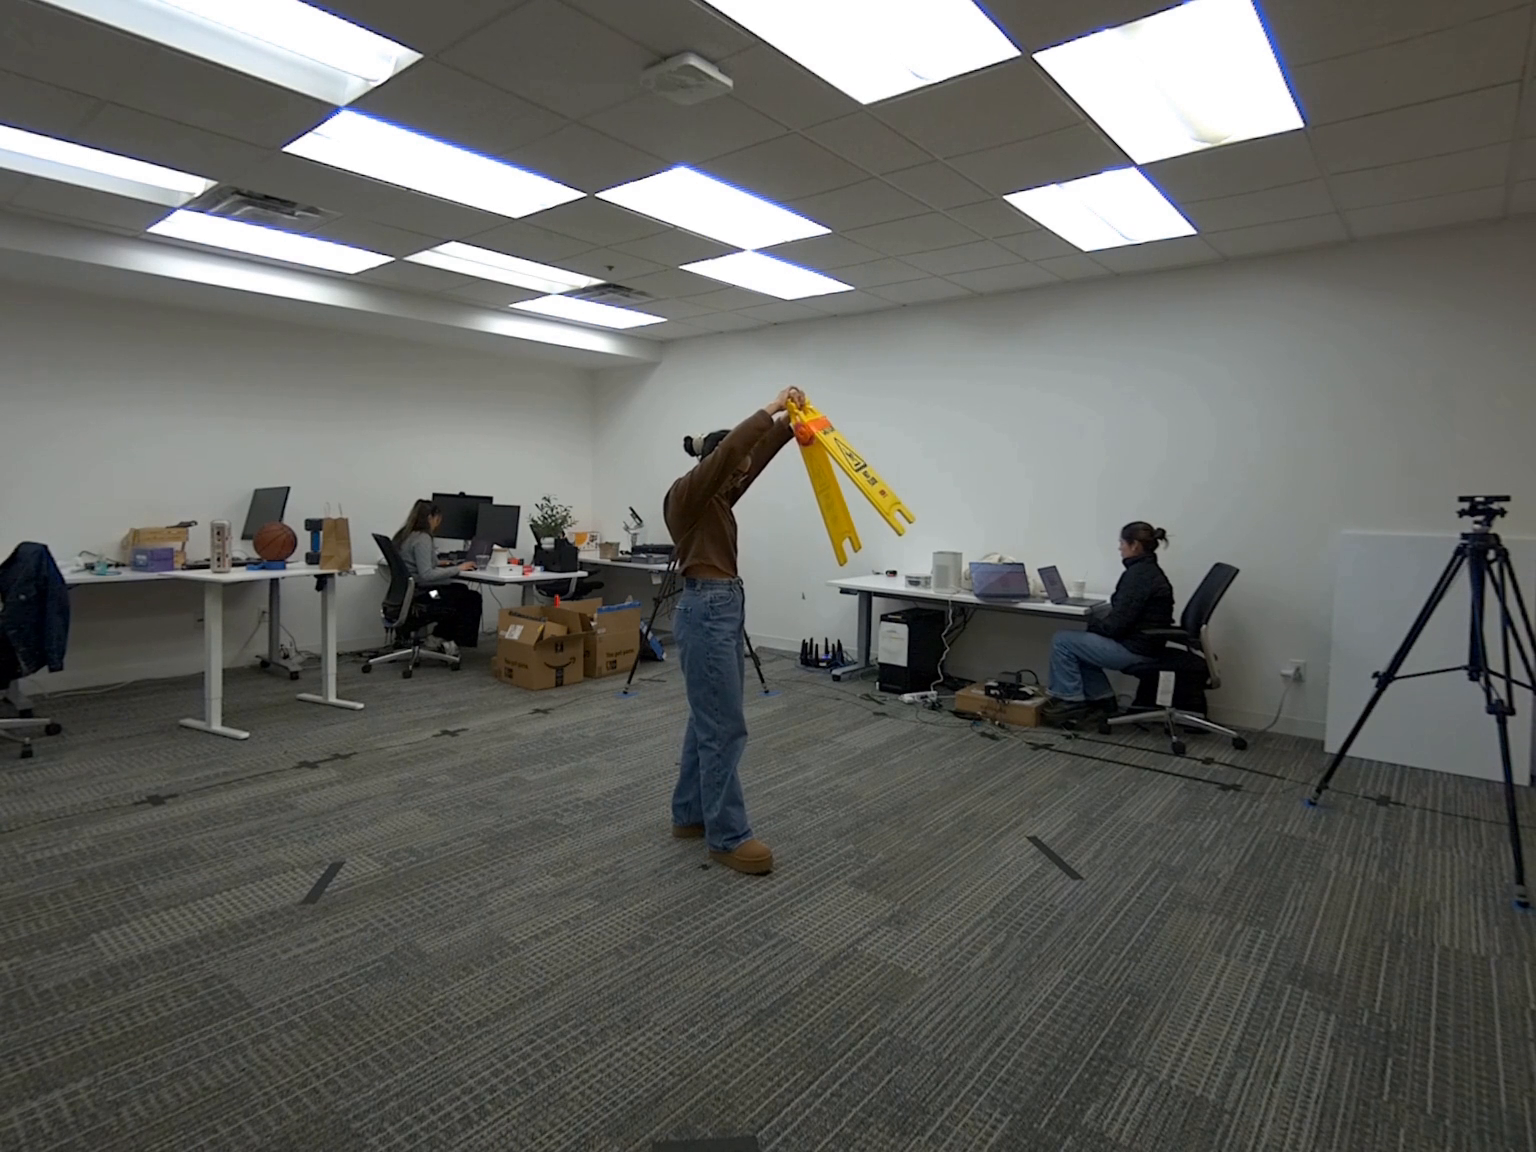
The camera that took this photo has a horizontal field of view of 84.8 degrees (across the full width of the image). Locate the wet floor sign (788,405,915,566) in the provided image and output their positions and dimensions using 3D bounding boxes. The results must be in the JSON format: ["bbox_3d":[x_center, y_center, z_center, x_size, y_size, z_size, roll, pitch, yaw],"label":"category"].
[{"bbox_3d":[0.257,-0.410,3.266,0.293,0.644,0.280,-28,2,26],"label":"wet floor sign"}]
